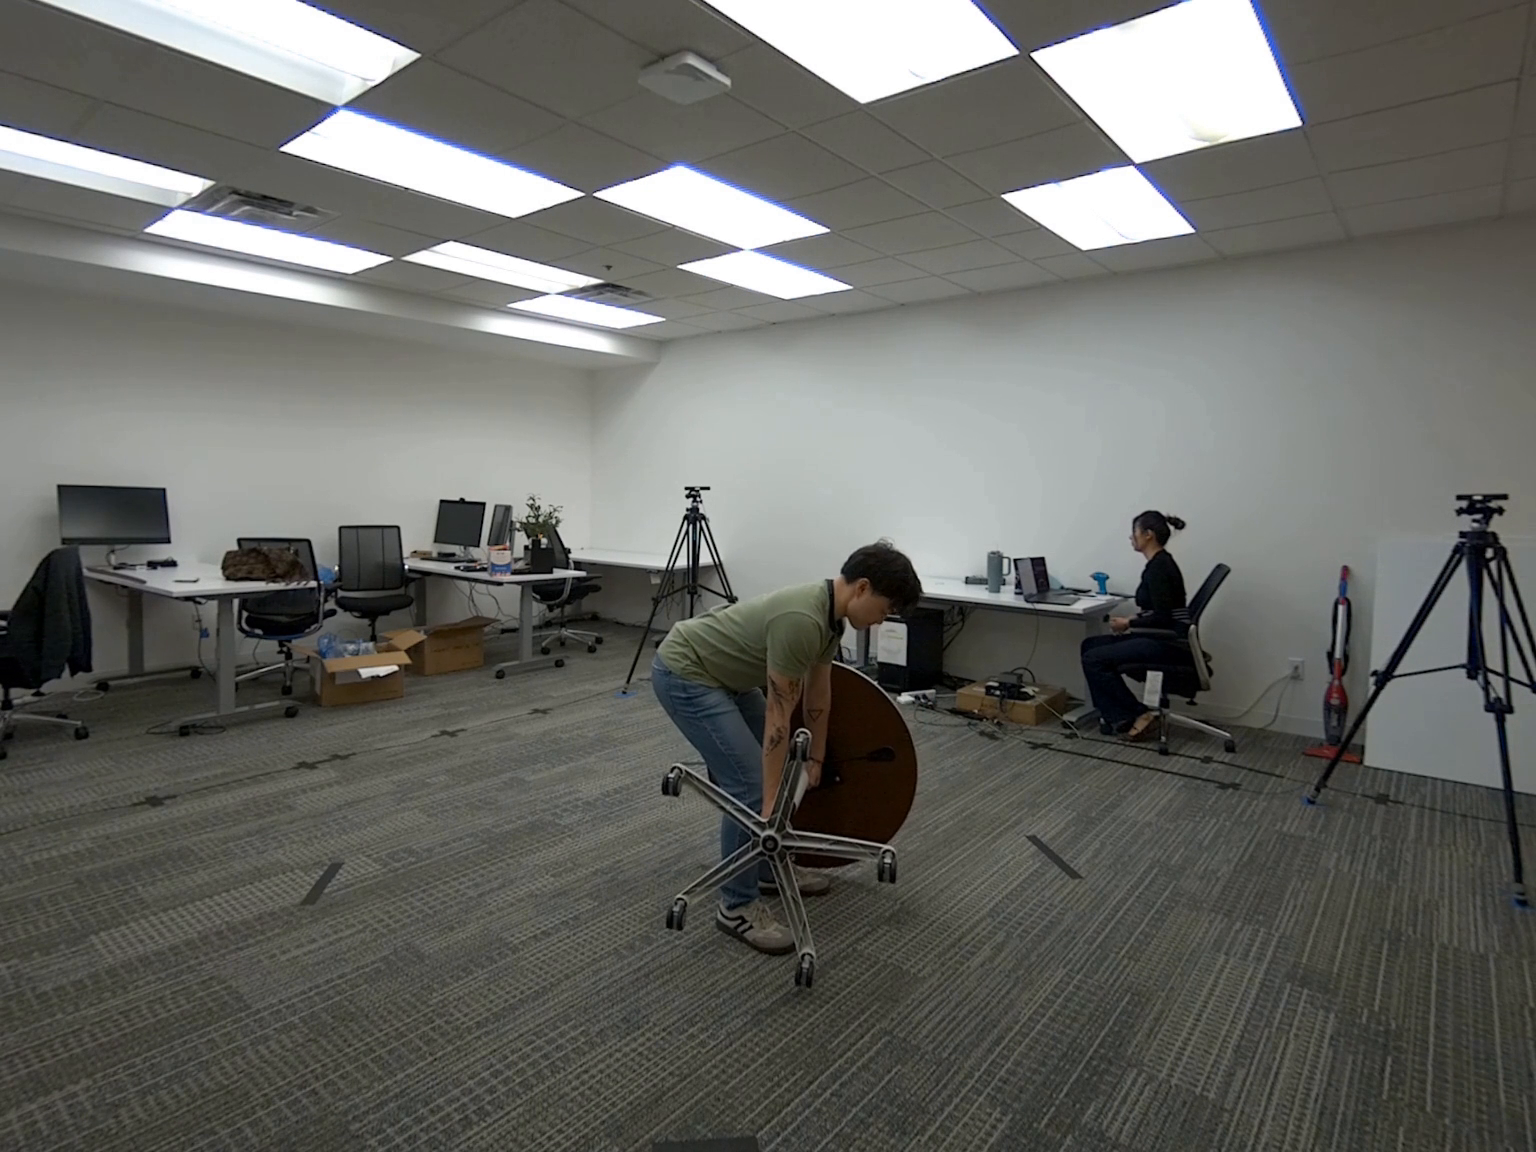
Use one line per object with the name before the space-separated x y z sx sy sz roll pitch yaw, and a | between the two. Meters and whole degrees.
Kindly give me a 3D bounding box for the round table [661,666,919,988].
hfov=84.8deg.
round table | 0.066 0.715 2.688 0.776 0.760 0.786 2 6 13
